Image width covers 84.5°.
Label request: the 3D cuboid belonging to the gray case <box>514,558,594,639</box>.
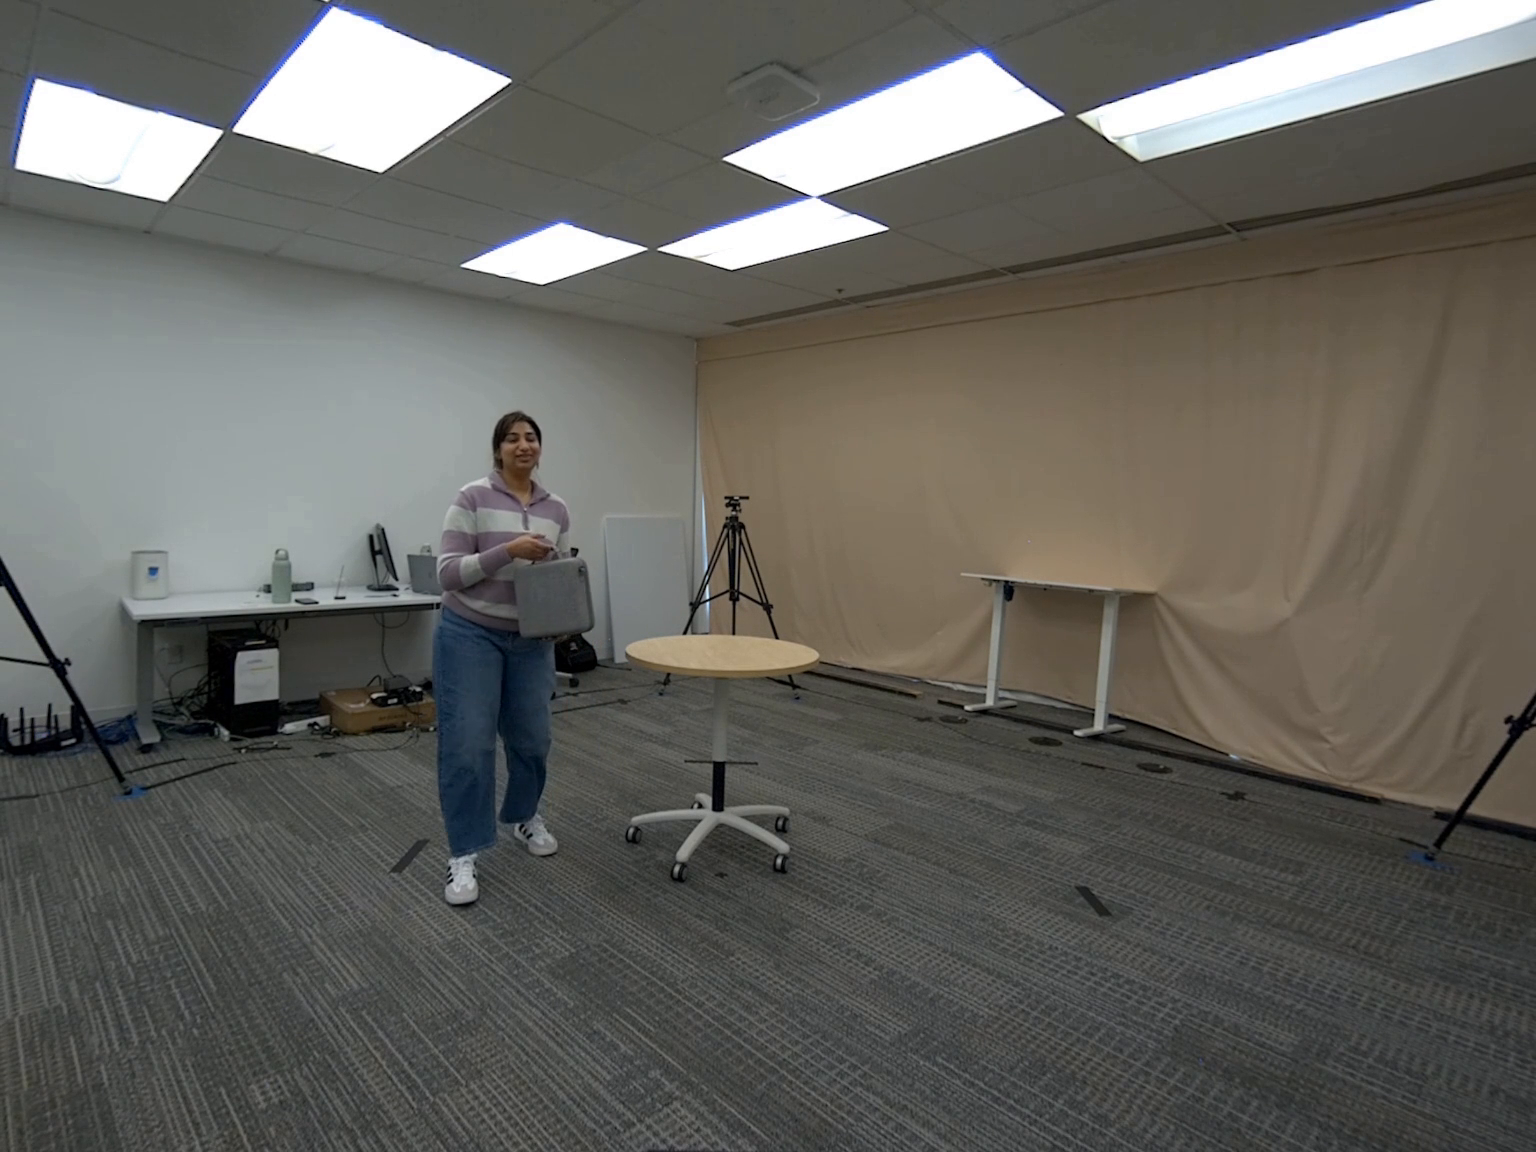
[{"bbox_3d":[-0.730,0.072,2.861,0.260,0.261,0.103,-10,-1,20],"label":"gray case"}]
